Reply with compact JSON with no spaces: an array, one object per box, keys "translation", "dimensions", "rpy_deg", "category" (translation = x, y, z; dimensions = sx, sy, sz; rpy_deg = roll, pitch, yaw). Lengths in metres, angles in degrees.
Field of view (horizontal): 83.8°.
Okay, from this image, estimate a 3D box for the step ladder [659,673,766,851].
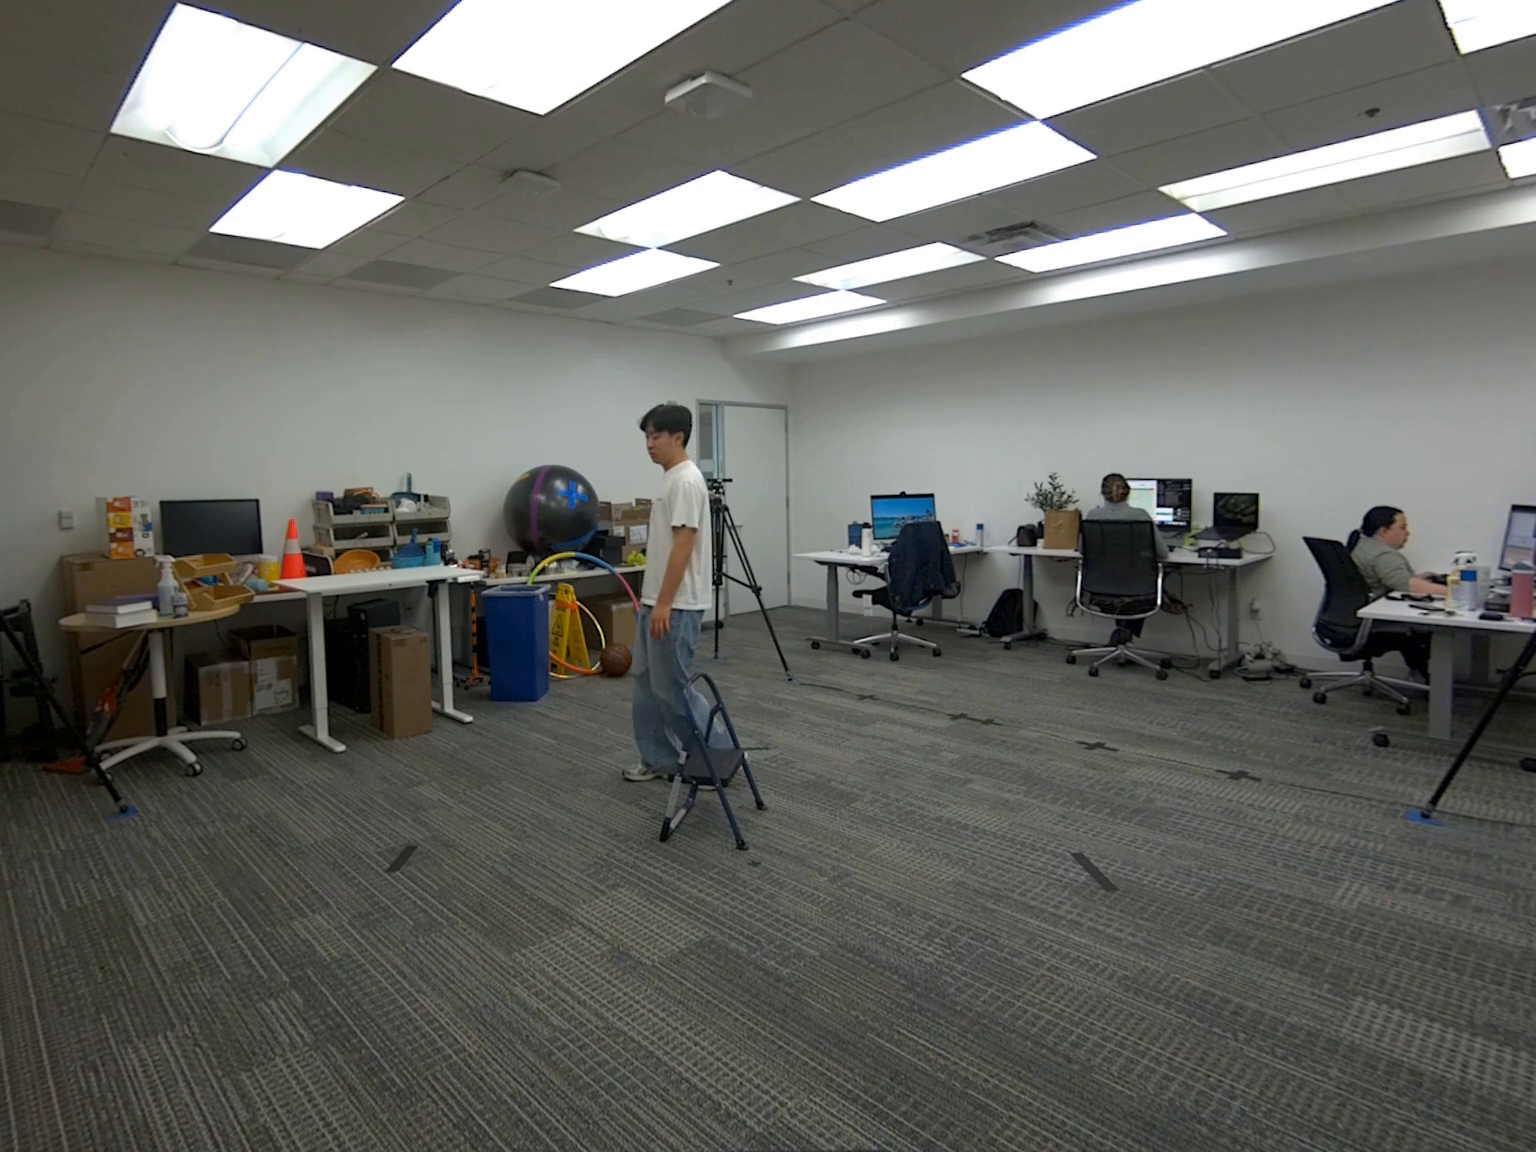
[{"translation":[-0.220,0.707,3.446],"dimensions":[0.353,0.604,0.427],"rpy_deg":[0,4,11],"category":"step ladder"}]
